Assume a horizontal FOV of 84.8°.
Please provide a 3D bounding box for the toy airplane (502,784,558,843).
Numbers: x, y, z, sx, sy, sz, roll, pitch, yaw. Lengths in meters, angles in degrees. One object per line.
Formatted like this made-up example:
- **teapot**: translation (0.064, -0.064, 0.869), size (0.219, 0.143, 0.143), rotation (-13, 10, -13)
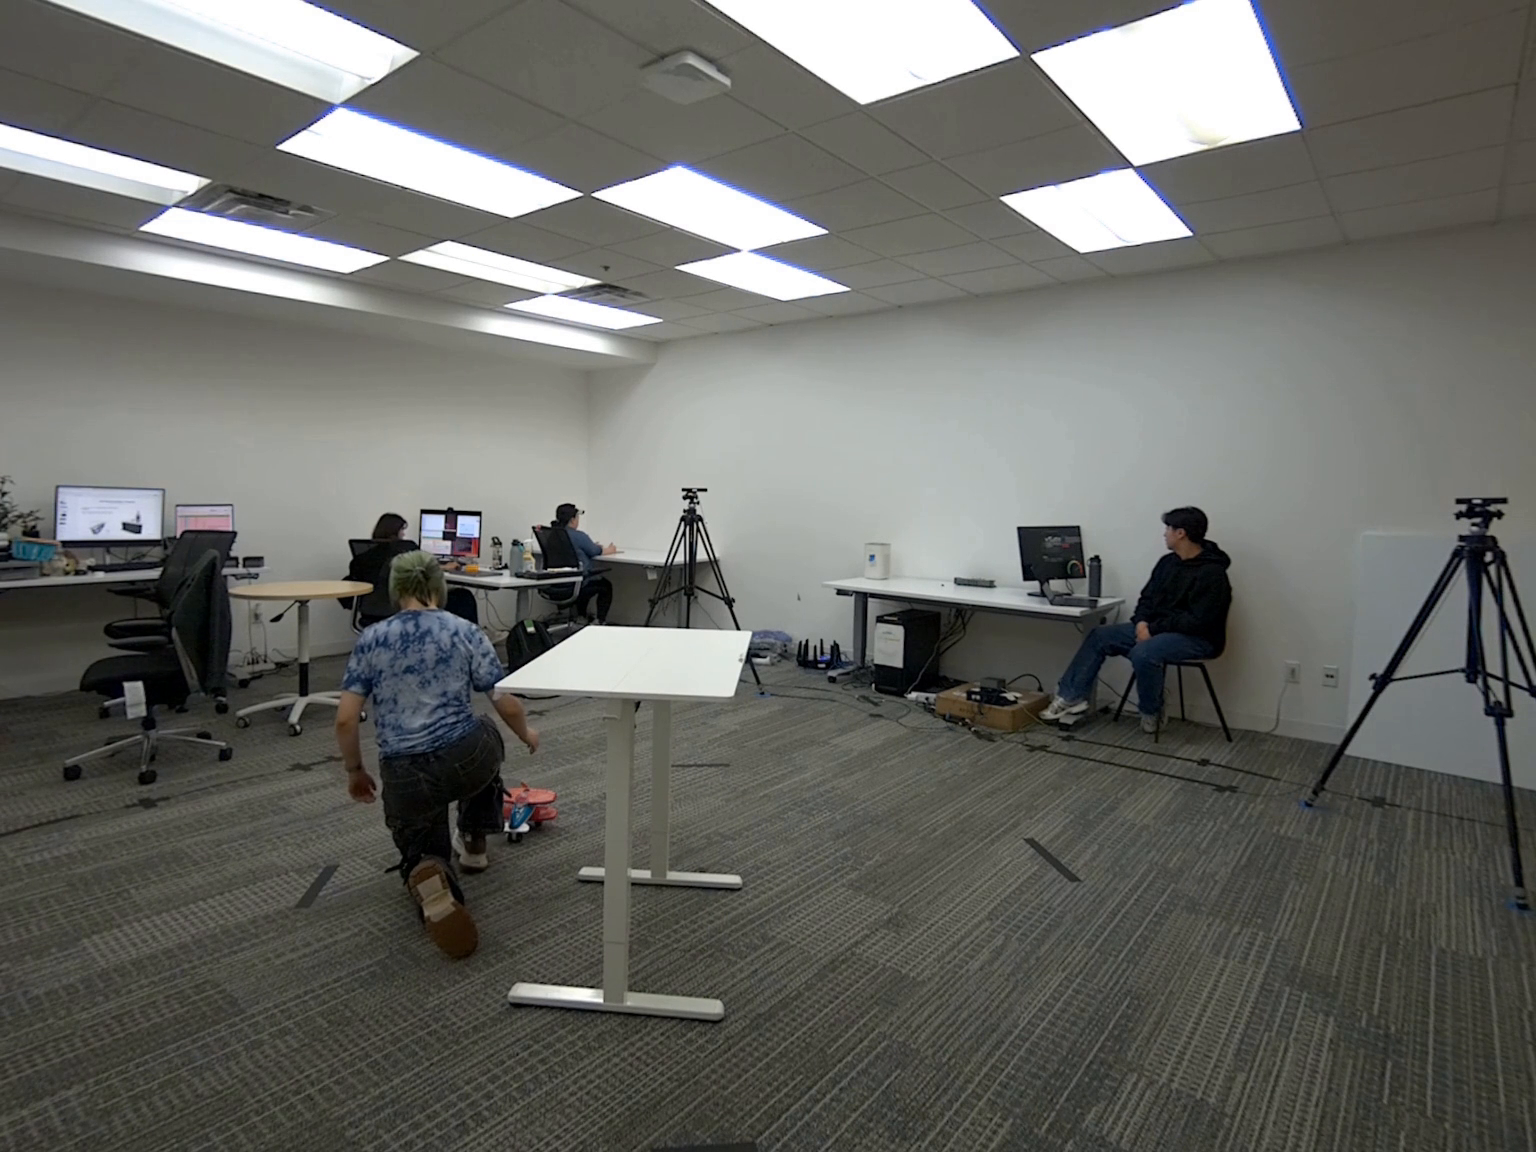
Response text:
- **toy airplane**: translation (-0.983, 0.955, 3.418), size (0.245, 0.156, 0.266), rotation (-1, 5, -24)
